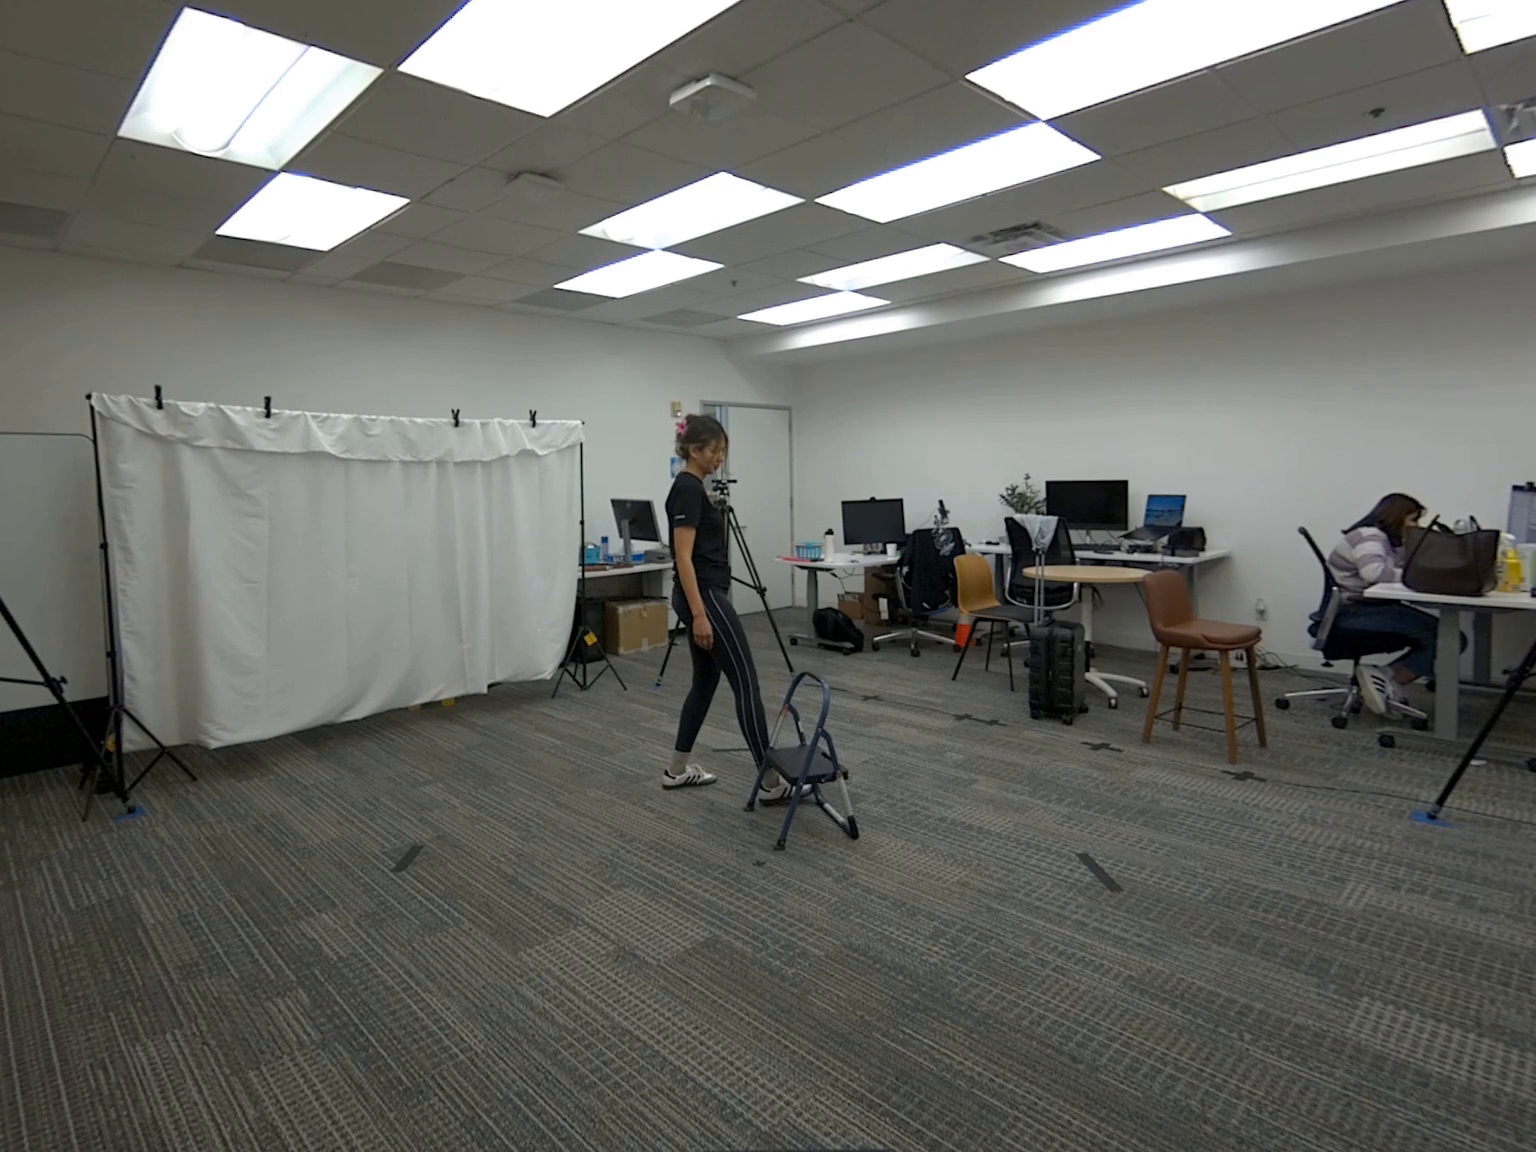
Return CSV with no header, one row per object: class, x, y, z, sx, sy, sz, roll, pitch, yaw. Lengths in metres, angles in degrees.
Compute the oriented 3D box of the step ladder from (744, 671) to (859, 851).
step ladder,0.128,0.703,3.446,0.344,0.604,0.439,-2,4,-17
